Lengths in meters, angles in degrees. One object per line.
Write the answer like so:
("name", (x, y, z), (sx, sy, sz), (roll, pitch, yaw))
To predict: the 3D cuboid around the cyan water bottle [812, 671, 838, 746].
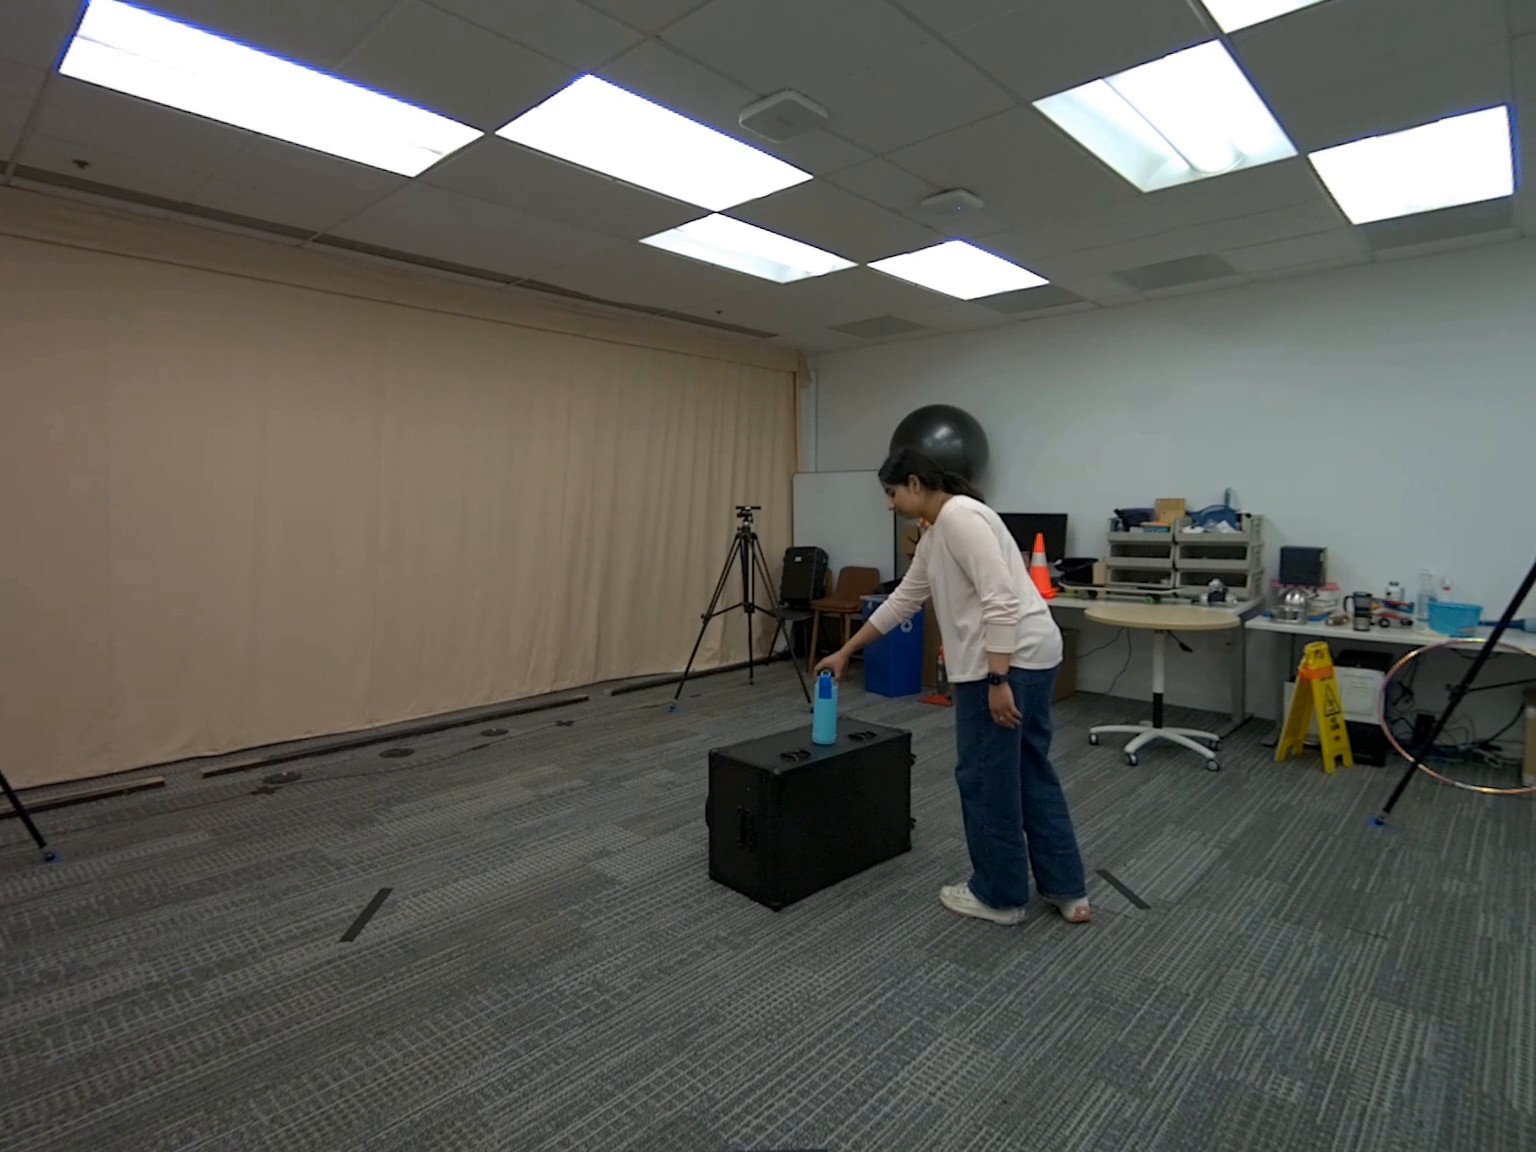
("cyan water bottle", (0.234, 0.497, 3.243), (0.092, 0.283, 0.092), (4, 3, -2))
